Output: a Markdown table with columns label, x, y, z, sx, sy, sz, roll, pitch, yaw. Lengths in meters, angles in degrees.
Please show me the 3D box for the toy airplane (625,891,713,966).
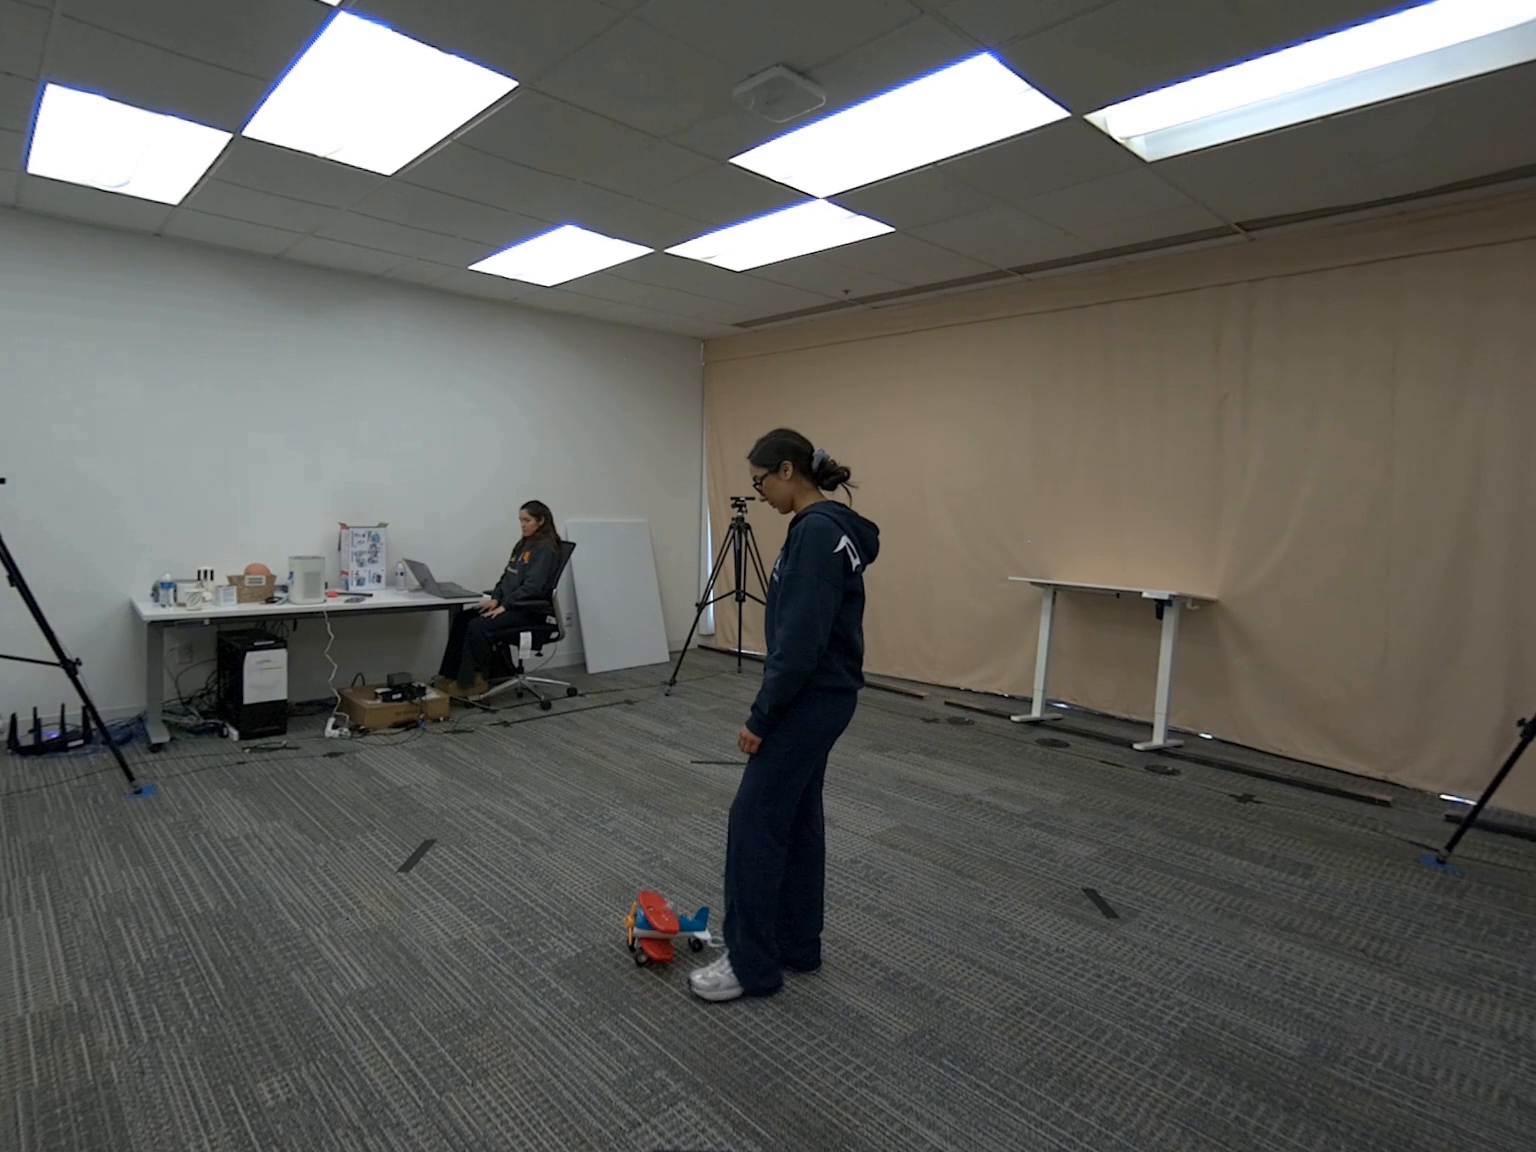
| label | x | y | z | sx | sy | sz | roll | pitch | yaw |
| --- | --- | --- | --- | --- | --- | --- | --- | --- | --- |
| toy airplane | -0.315 | 1.072 | 2.578 | 0.257 | 0.156 | 0.254 | 5 | 8 | 41 |
